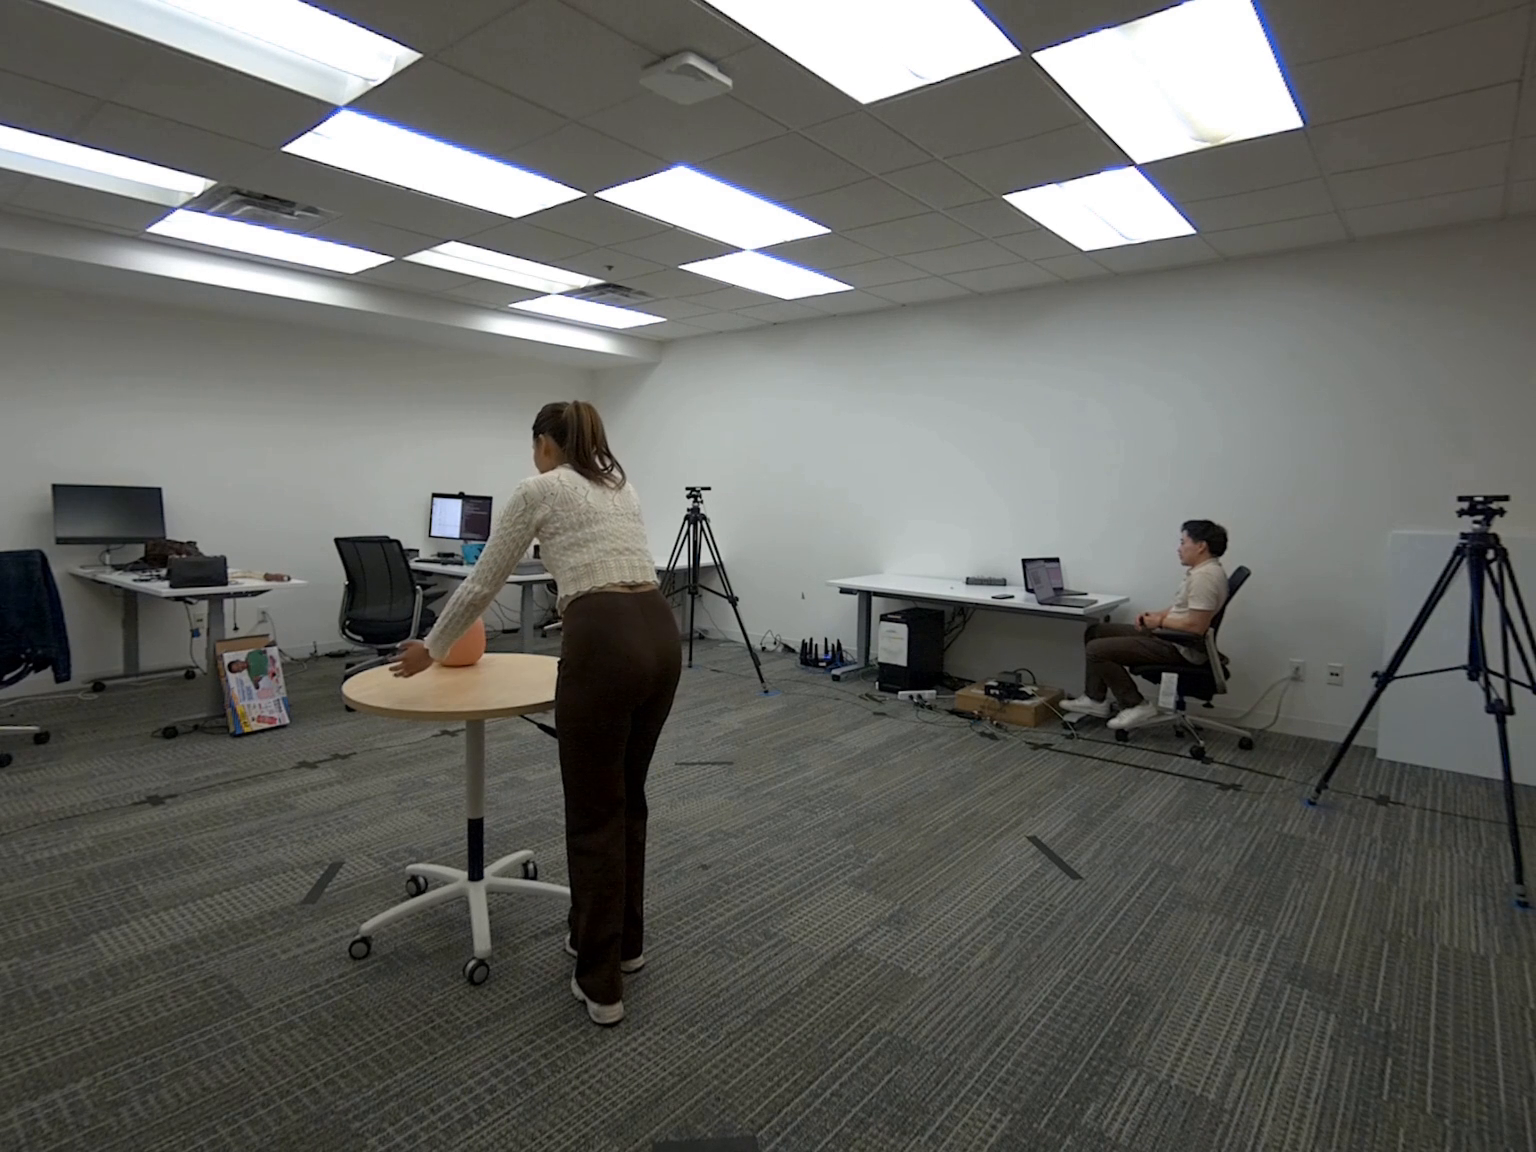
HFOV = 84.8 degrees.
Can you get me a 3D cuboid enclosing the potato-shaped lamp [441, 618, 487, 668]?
[{"bbox_3d":[-1.049,0.200,2.855,0.176,0.197,0.160,2,4,31],"label":"potato-shaped lamp"}]
